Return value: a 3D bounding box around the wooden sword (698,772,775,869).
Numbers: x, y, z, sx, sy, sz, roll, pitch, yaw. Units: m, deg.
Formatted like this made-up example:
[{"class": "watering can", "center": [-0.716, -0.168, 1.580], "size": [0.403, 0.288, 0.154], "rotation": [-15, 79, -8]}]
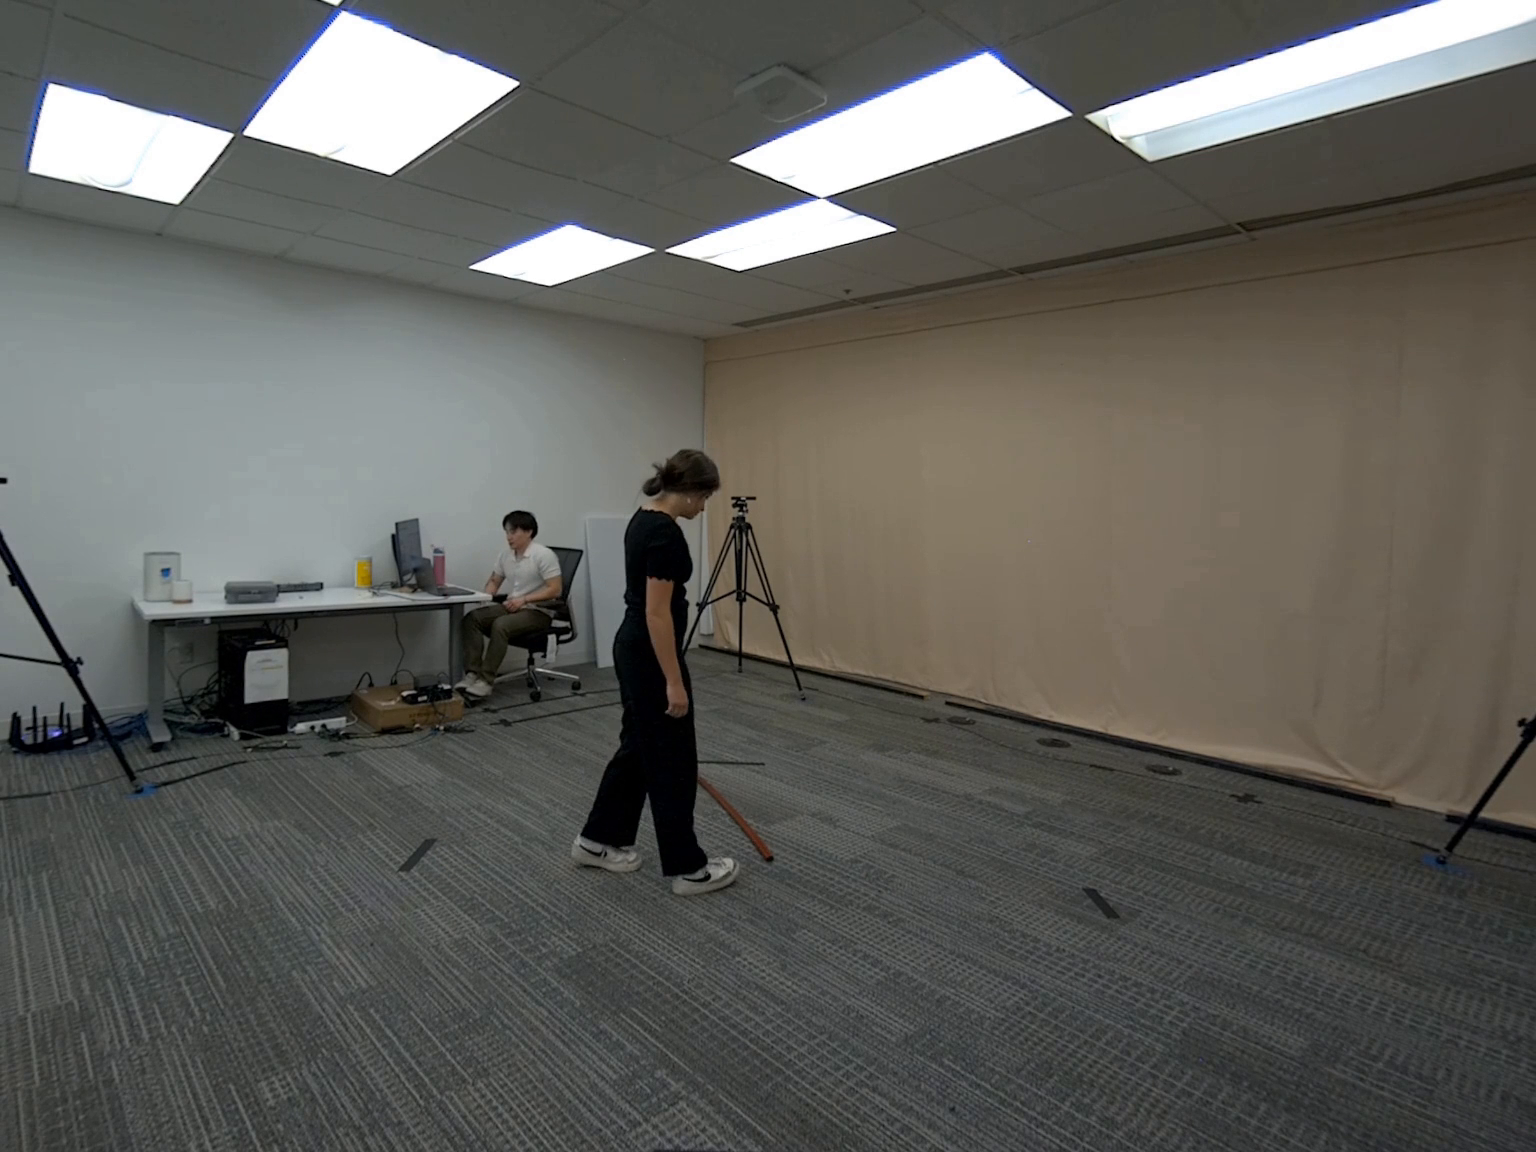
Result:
[{"class": "wooden sword", "center": [-0.175, 1.040, 3.720], "size": [0.024, 0.051, 1.043], "rotation": [-21, 12, -17]}]
